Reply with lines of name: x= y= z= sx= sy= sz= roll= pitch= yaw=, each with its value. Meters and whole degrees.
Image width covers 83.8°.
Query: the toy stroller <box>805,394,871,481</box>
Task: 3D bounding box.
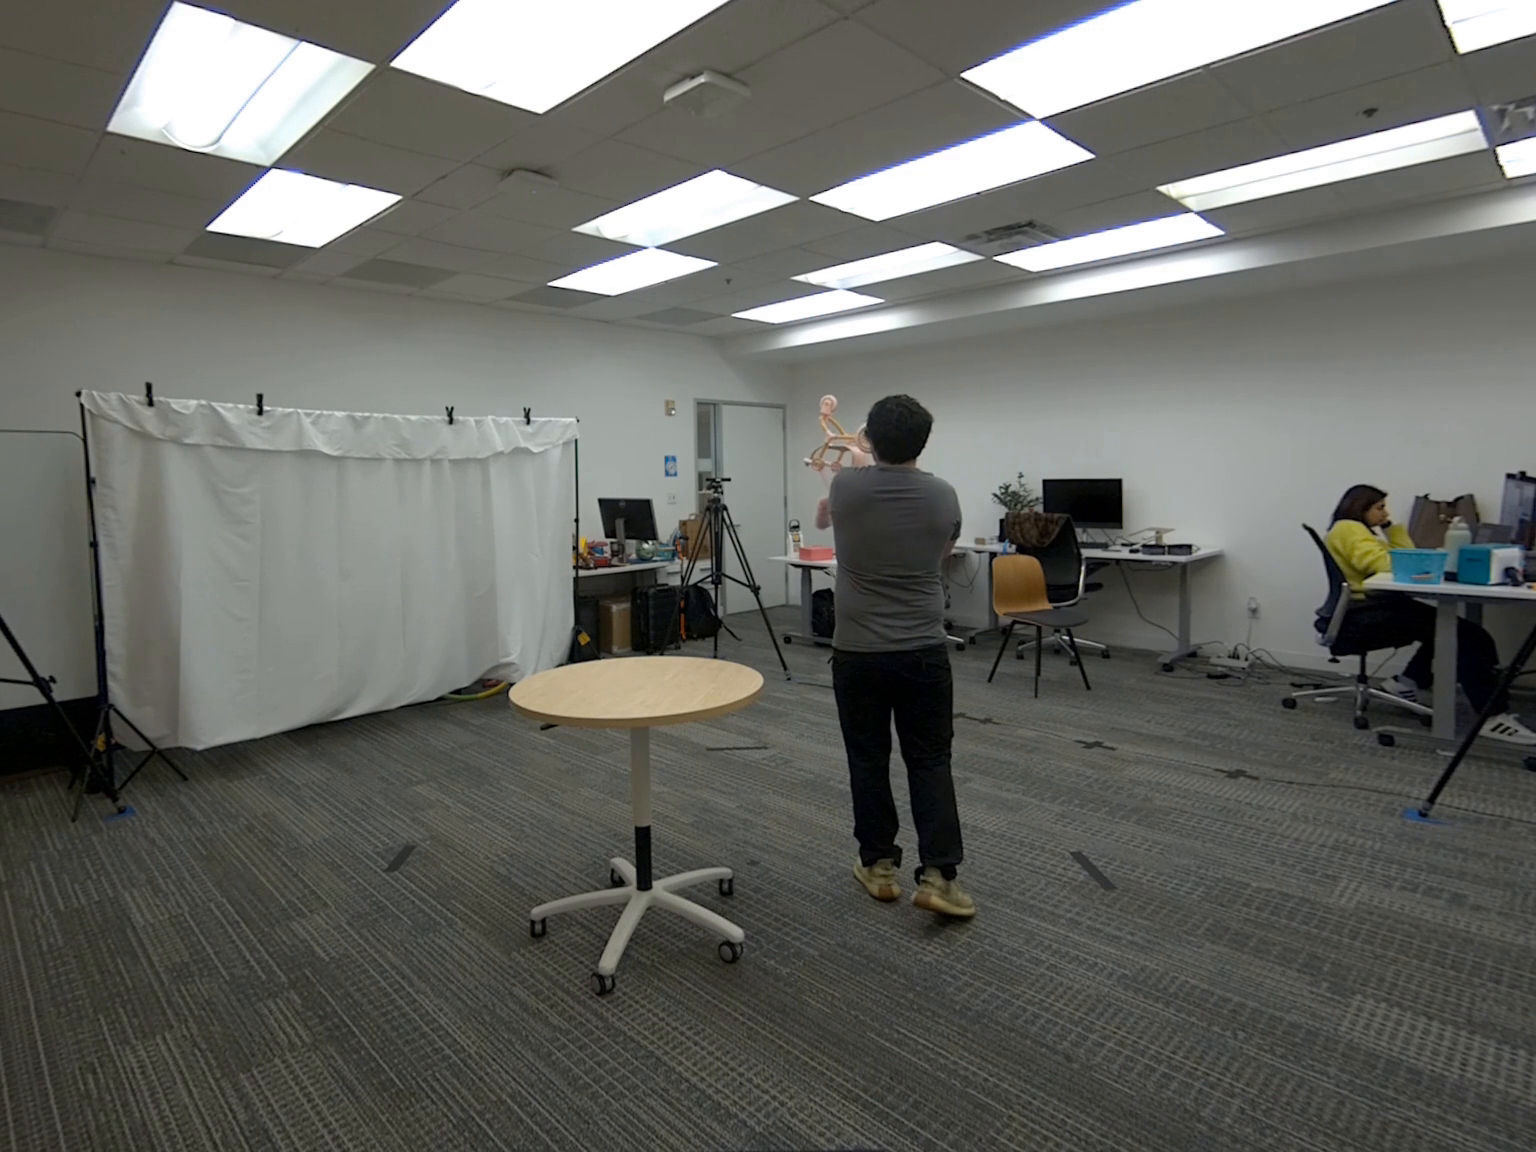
toy stroller: x=0.304 y=-0.400 z=3.266 sx=0.350 sy=0.531 sz=0.276 roll=18 pitch=12 yaw=22
